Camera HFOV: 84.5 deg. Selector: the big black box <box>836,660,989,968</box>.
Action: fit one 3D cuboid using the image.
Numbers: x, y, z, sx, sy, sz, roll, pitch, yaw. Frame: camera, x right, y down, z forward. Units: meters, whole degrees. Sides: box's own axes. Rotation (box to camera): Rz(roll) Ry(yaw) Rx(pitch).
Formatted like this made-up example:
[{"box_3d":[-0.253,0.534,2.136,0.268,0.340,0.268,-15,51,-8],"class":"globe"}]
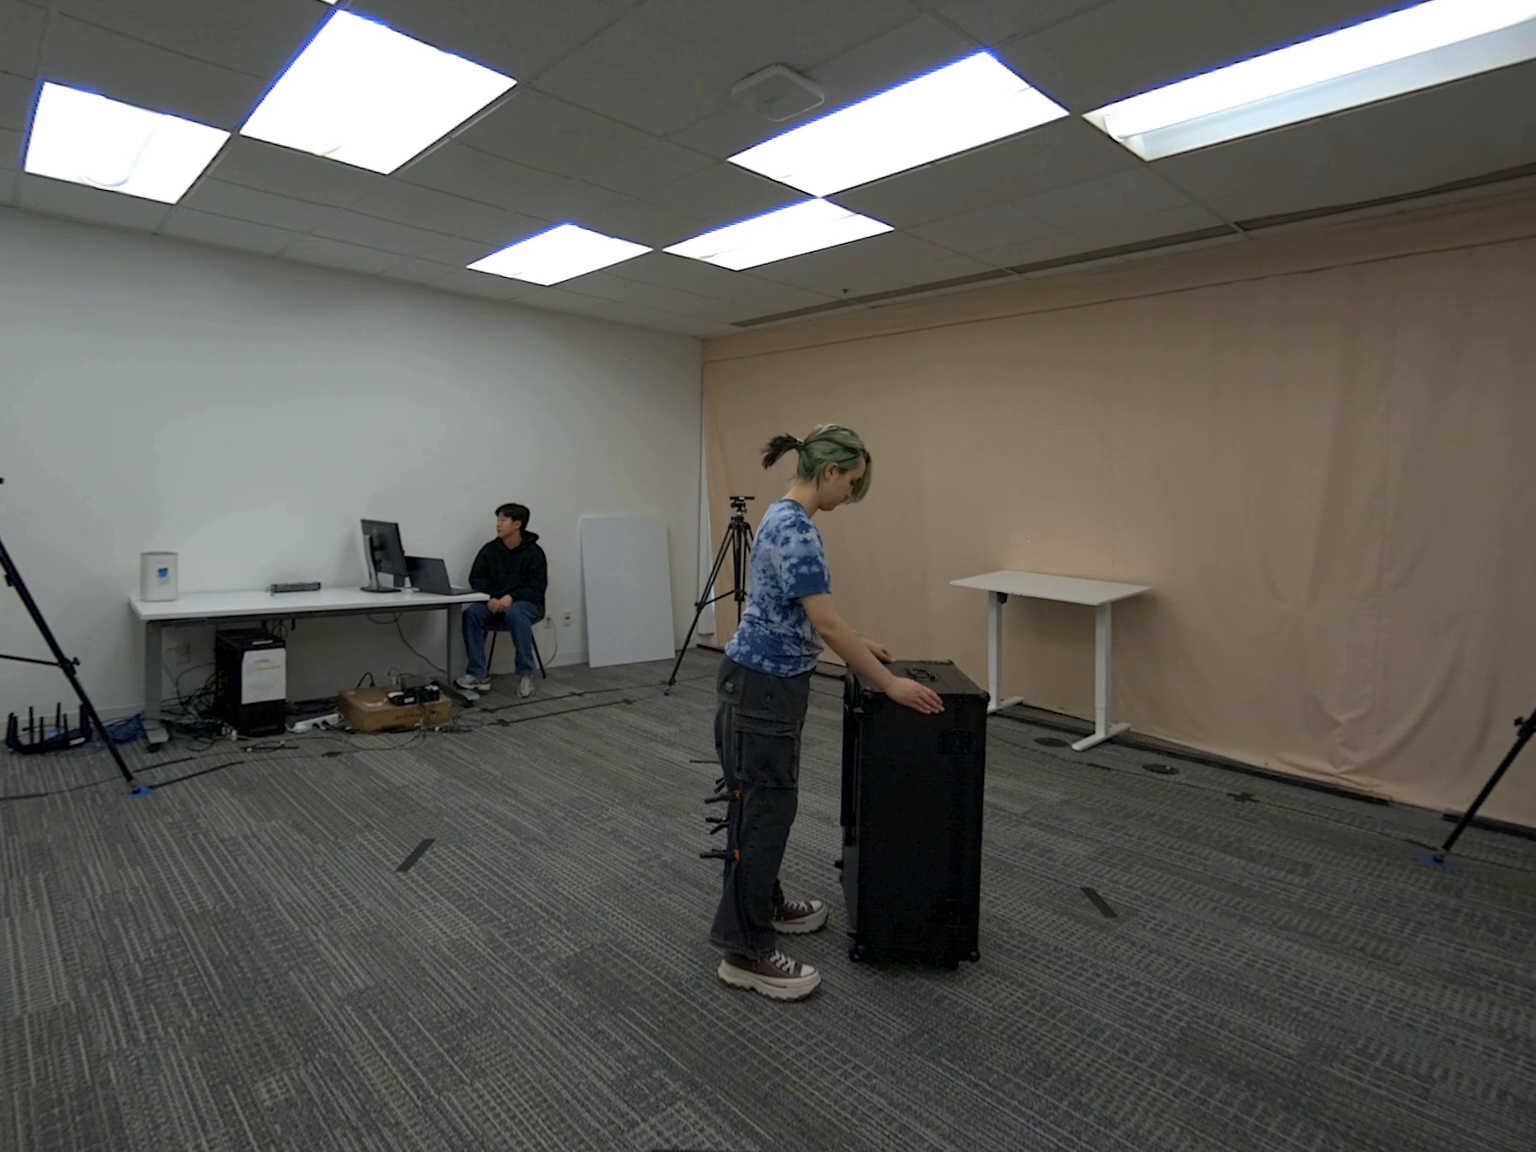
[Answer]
[{"box_3d":[0.424,0.738,2.645,0.397,0.859,0.522,1,5,2],"class":"big black box"}]
